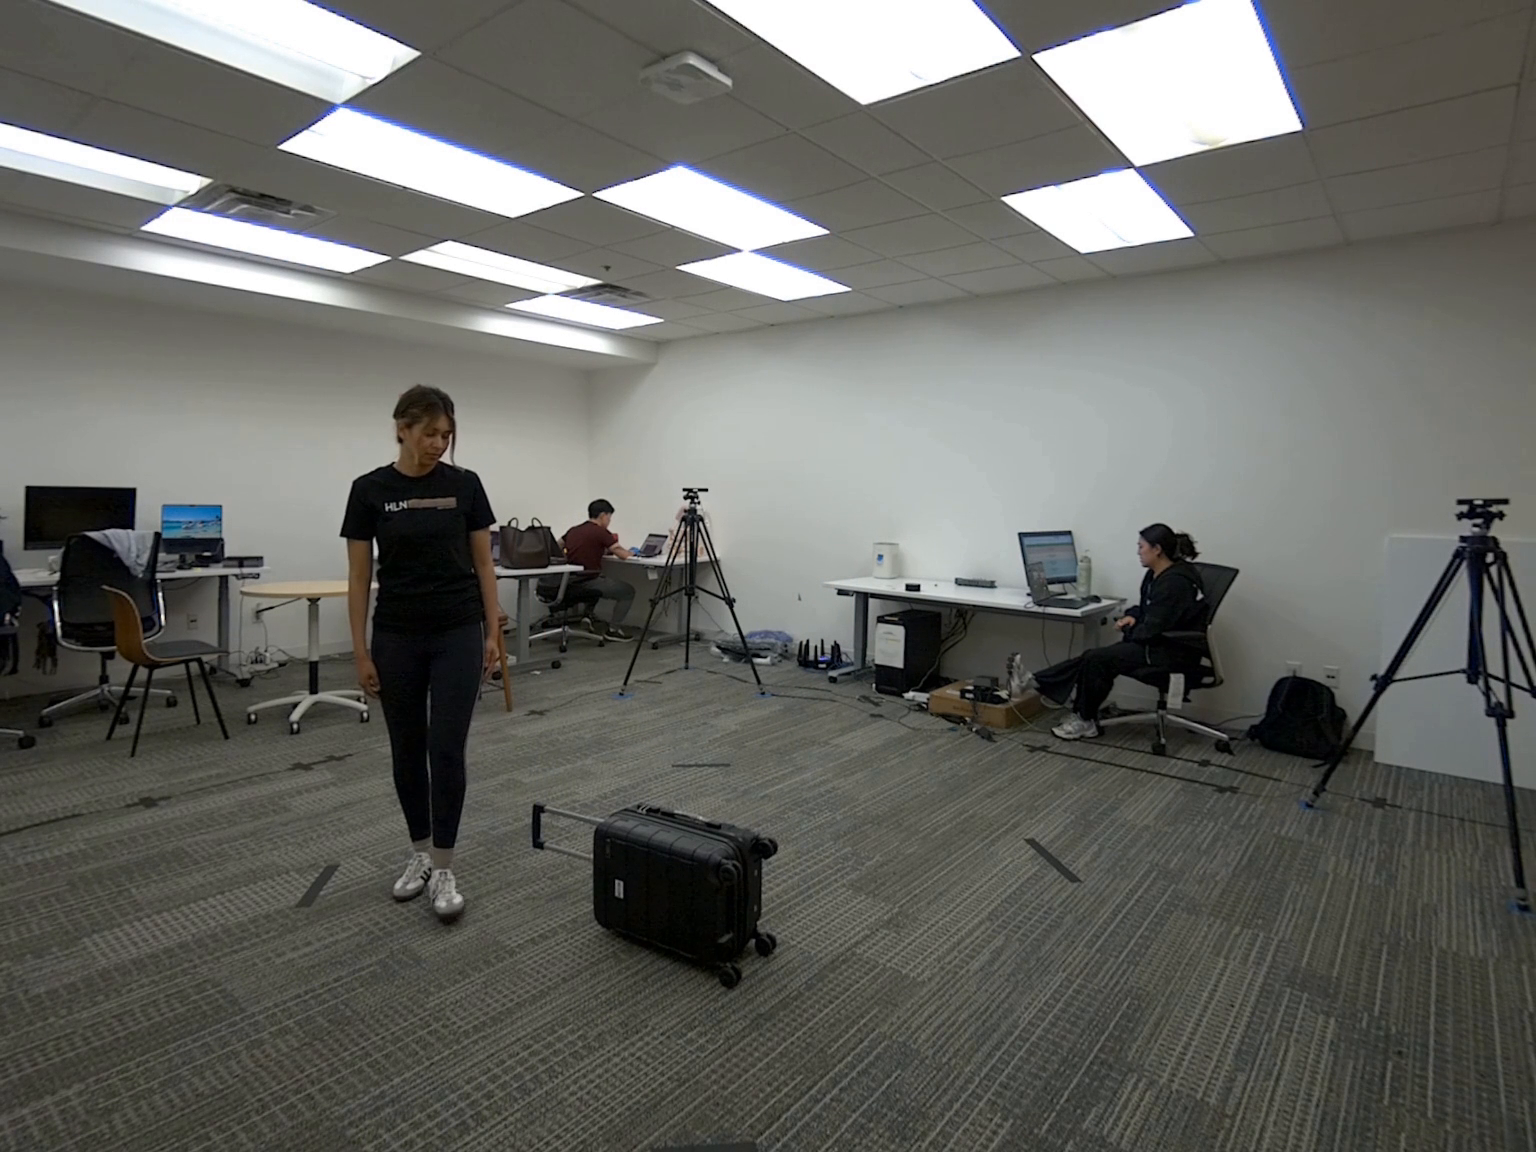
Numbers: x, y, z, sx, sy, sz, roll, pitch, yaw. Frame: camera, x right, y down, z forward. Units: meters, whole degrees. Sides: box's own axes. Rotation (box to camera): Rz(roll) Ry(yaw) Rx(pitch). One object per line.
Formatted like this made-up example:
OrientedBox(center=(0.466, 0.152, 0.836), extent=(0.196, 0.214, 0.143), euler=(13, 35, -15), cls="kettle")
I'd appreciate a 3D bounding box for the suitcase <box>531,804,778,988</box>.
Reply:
OrientedBox(center=(-0.458, 0.919, 2.698), extent=(1.007, 0.383, 0.250), euler=(4, 4, 30), cls="suitcase")
